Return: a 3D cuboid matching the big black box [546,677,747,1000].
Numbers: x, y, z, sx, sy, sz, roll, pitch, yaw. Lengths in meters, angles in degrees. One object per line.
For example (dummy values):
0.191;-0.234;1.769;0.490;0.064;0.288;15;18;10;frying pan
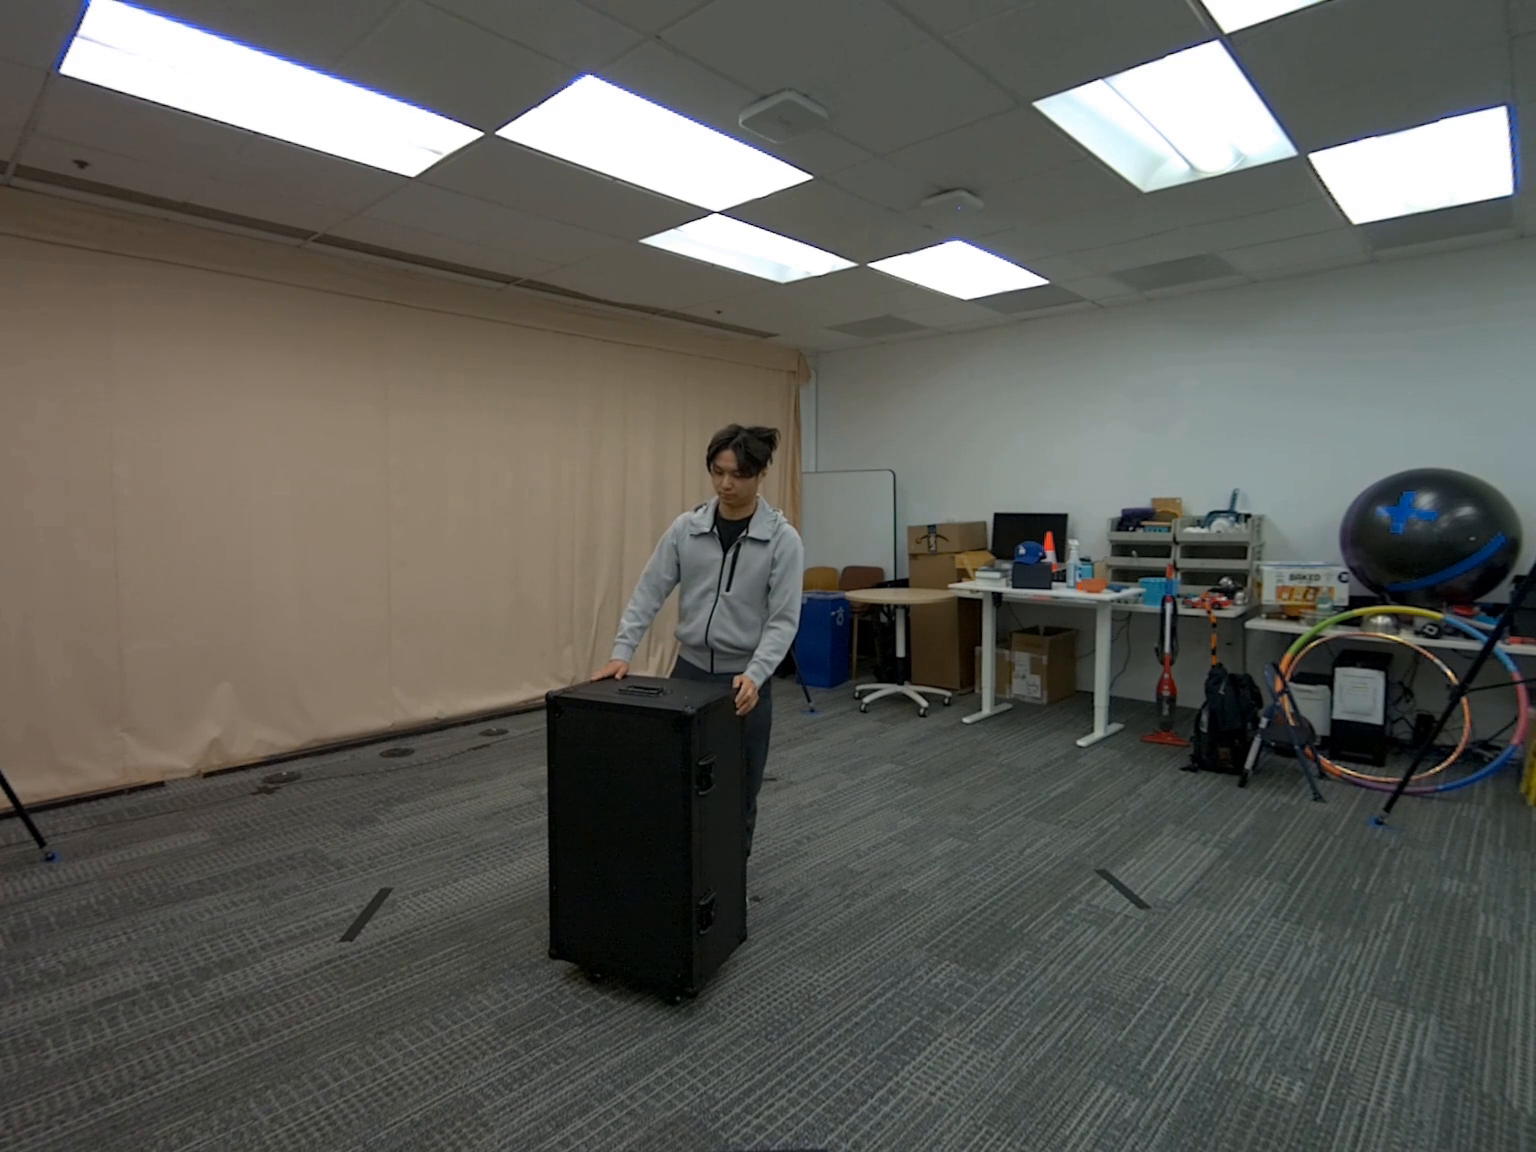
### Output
-0.356;0.762;2.511;0.535;0.860;0.387;2;2;25;big black box
